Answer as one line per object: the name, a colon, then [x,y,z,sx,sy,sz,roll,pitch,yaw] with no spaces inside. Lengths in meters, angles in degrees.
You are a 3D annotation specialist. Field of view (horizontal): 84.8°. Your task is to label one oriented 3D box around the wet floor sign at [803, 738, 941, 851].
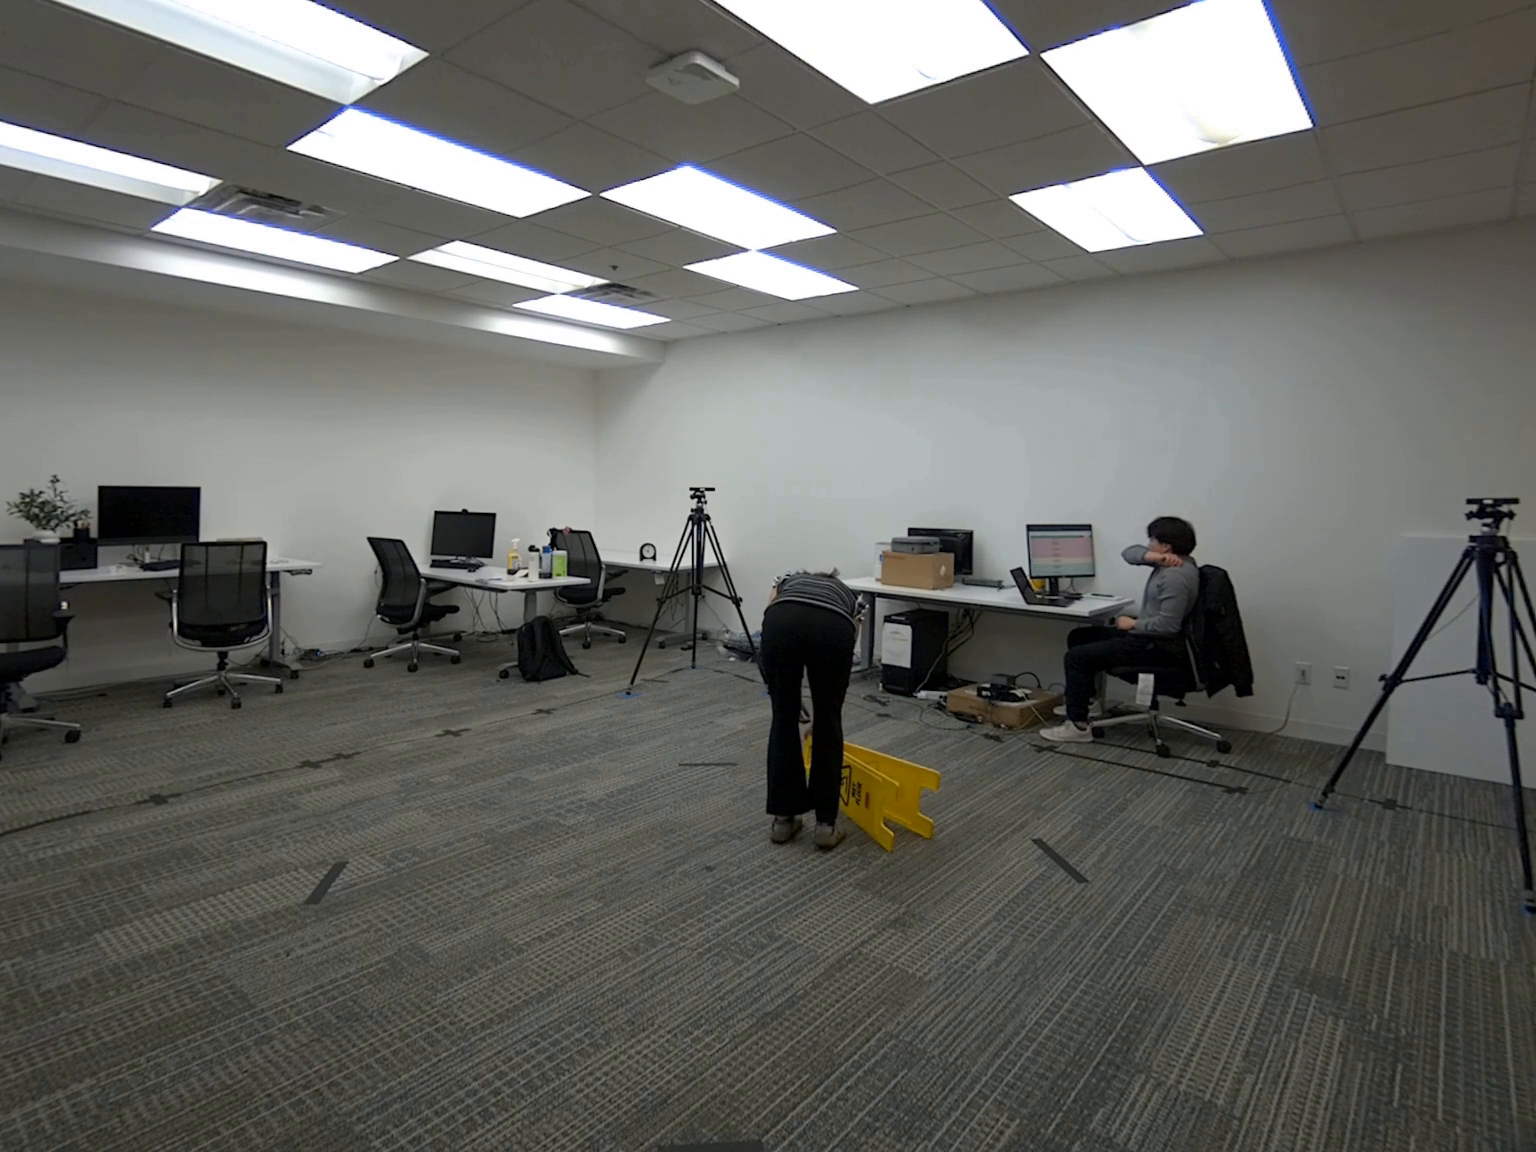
wet floor sign: [0.365,0.858,3.596,0.281,0.280,0.671,0,11,-38]
